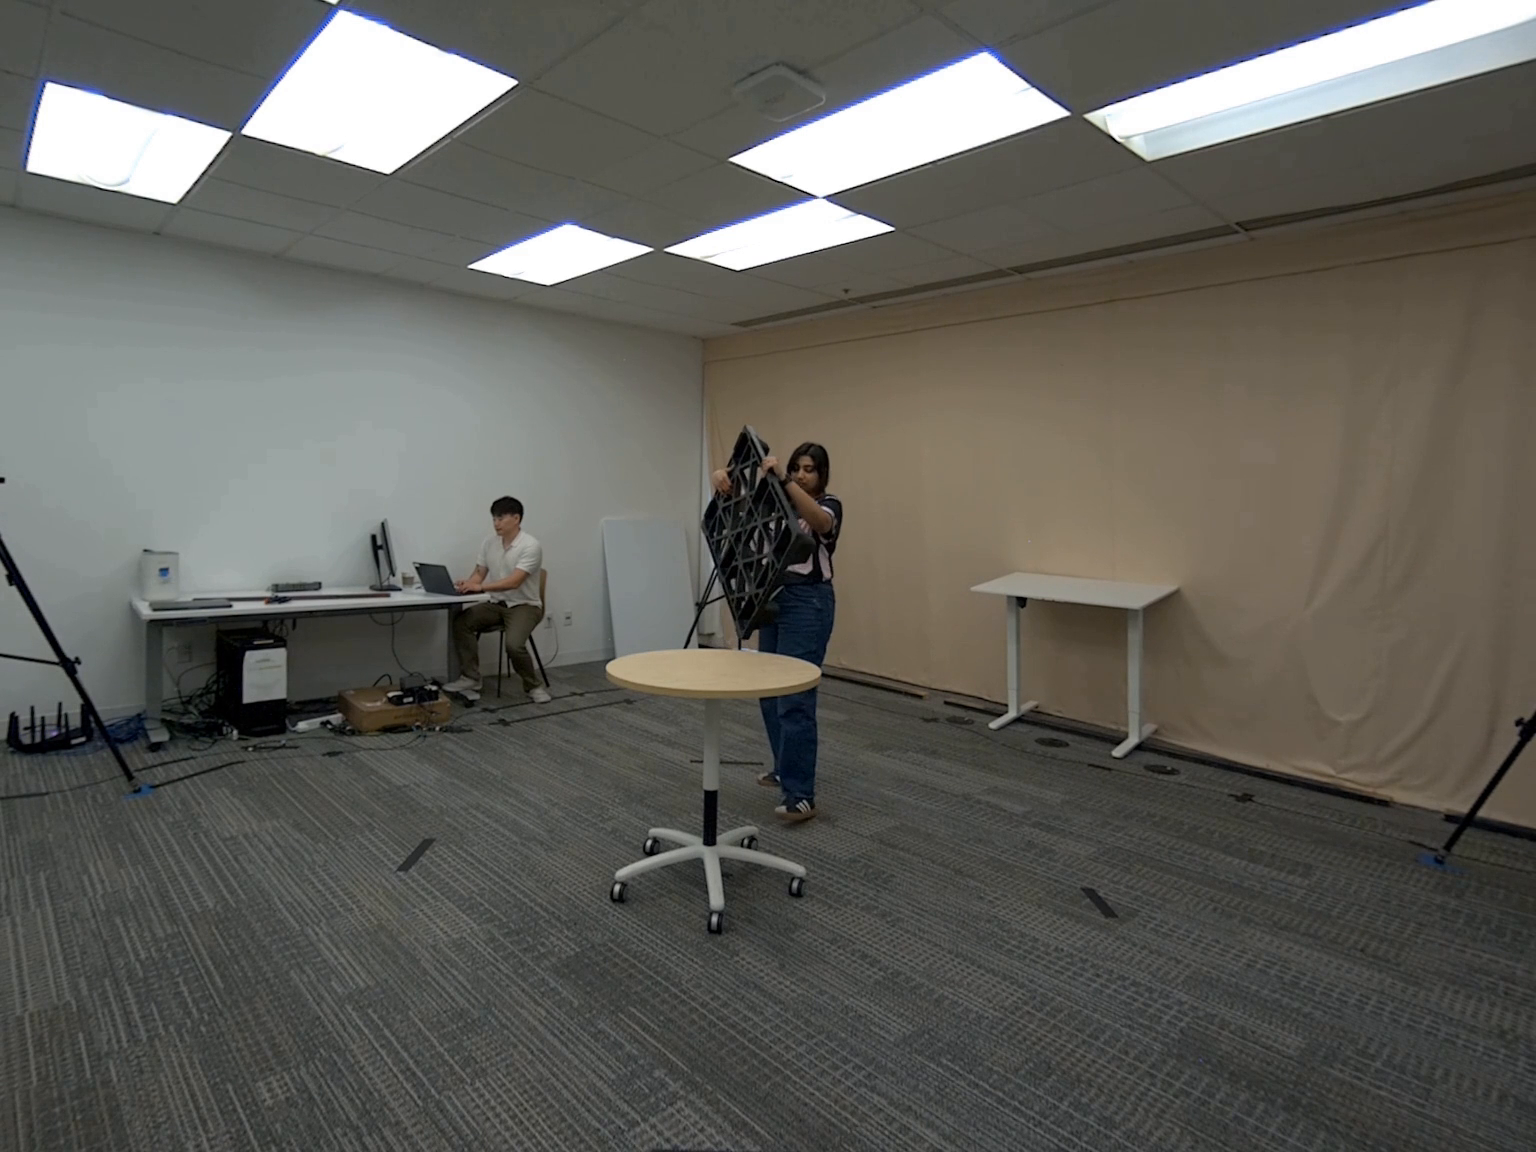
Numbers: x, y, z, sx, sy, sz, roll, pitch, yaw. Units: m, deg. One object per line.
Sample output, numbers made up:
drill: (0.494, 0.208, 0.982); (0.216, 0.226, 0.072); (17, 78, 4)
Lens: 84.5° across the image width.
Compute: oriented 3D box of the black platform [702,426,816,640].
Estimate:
black platform: (-0.062, -0.204, 3.718); (0.140, 0.600, 0.829); (9, 38, -26)
